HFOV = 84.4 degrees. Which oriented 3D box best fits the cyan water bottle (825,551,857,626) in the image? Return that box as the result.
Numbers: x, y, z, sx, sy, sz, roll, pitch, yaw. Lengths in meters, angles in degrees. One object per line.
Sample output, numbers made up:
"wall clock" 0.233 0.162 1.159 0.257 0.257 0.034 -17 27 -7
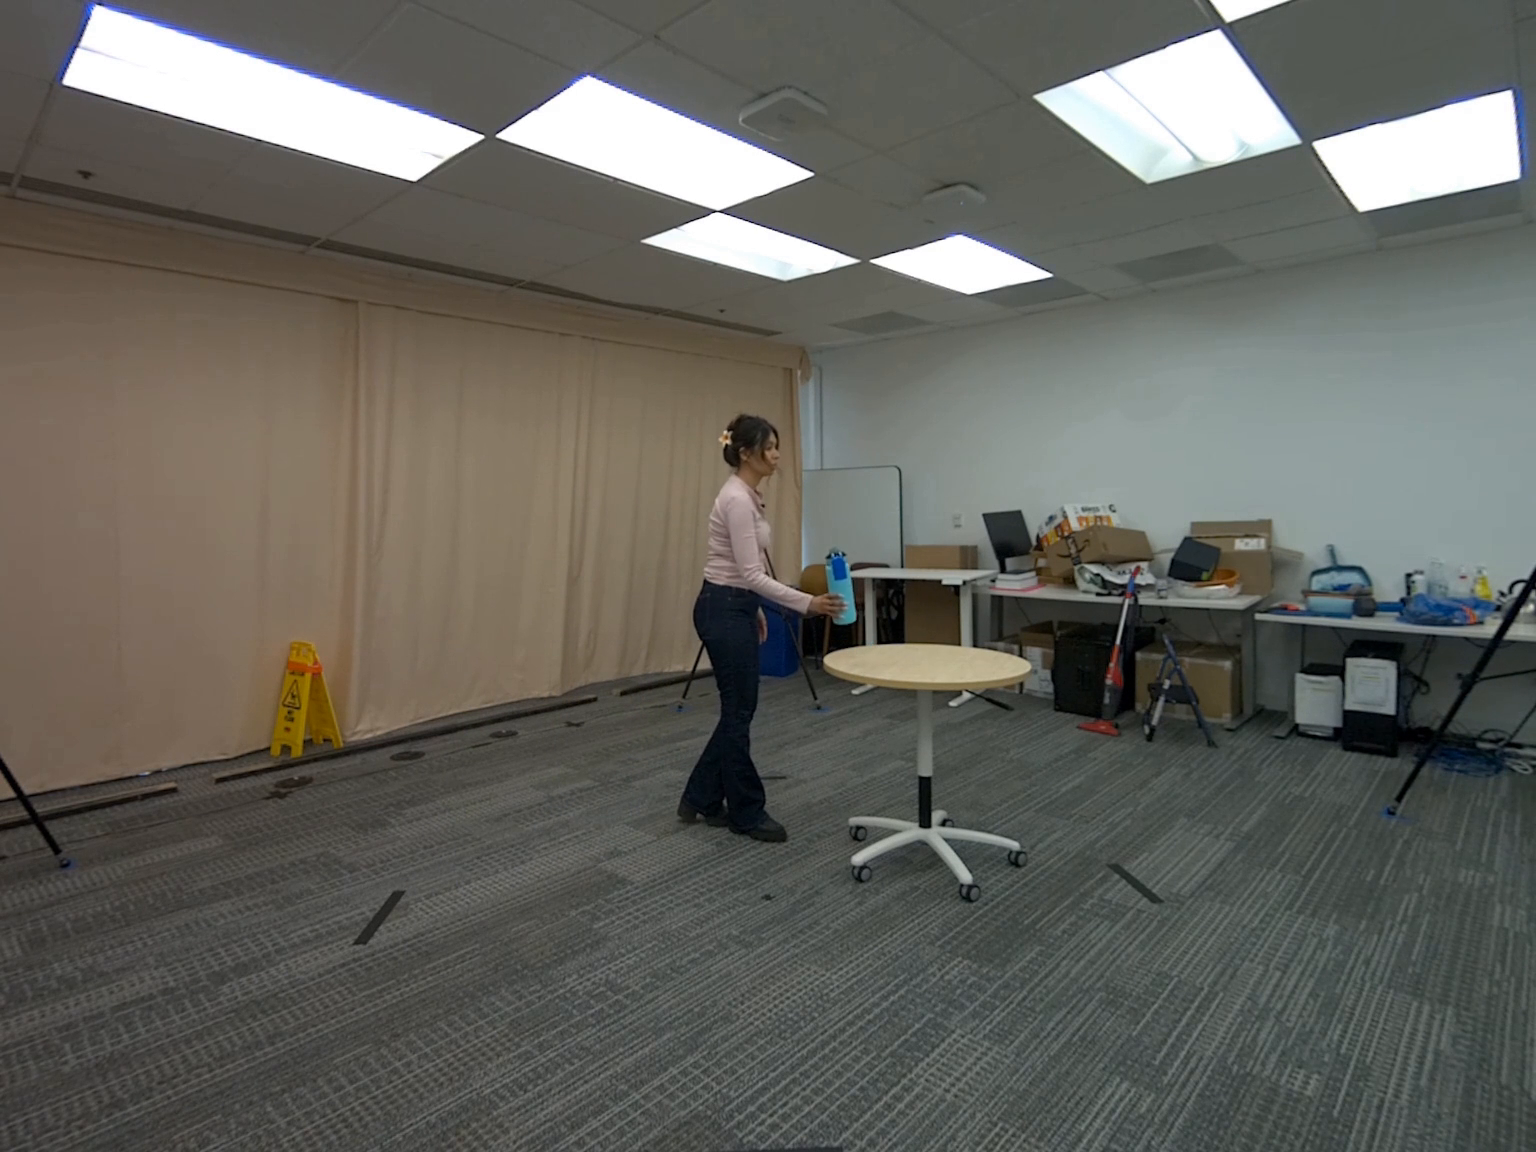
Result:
"cyan water bottle" 0.274 0.036 3.156 0.092 0.280 0.093 -7 15 0
